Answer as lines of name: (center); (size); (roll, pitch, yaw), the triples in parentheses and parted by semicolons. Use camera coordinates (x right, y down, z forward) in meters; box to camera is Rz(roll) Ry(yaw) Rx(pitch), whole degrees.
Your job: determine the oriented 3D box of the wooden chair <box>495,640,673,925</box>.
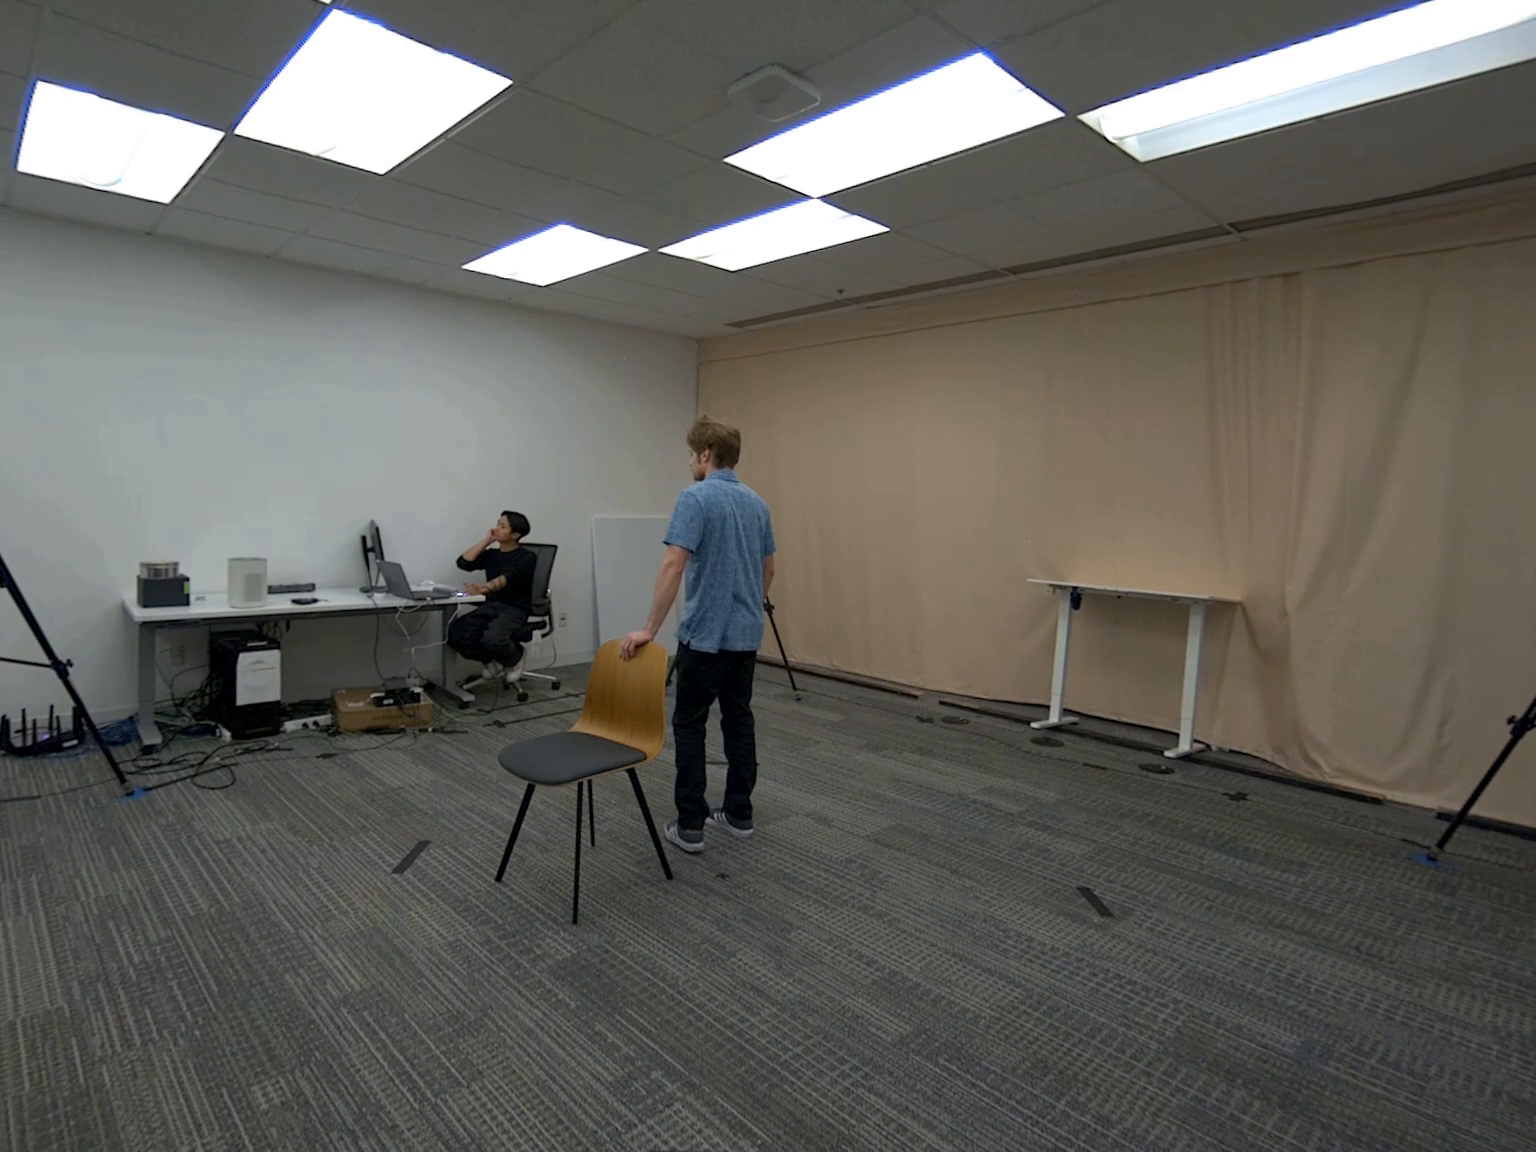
wooden chair: (-0.658, 0.676, 3.000); (0.490, 0.877, 0.510); (5, 0, 40)
